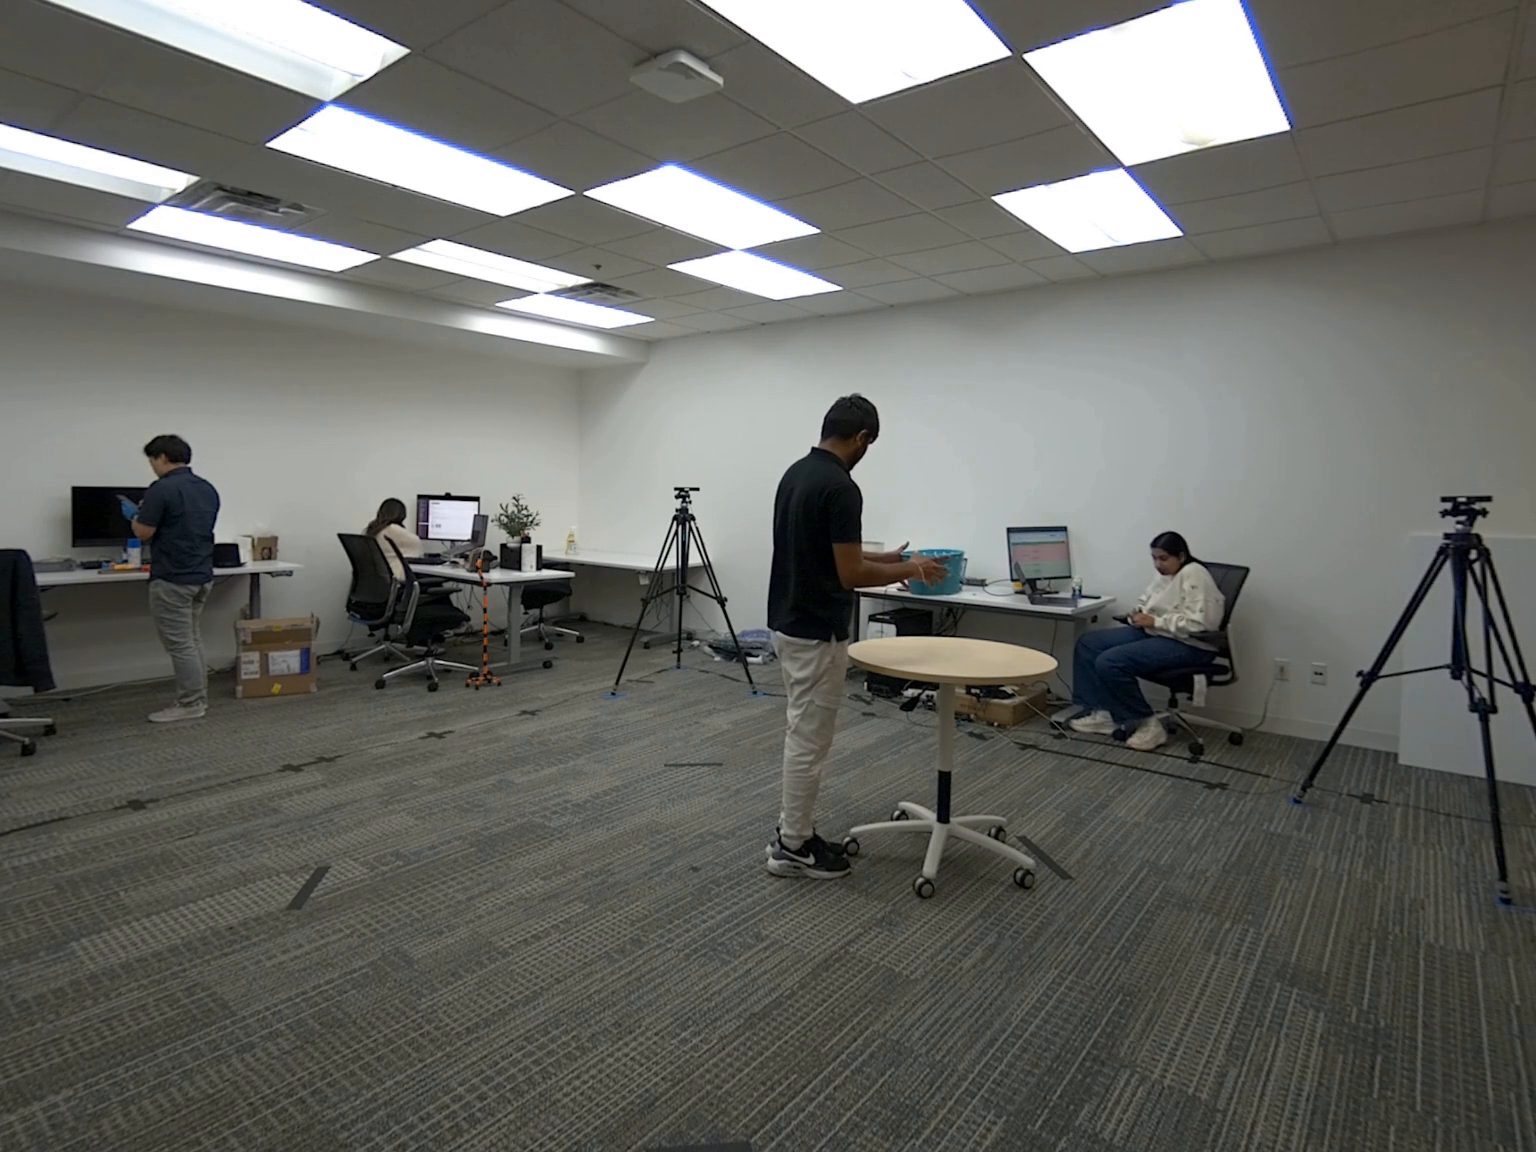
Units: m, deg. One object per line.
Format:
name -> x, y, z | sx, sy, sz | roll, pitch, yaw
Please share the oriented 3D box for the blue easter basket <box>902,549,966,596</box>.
blue easter basket -> 0.618, -0.012, 3.167 | 0.243, 0.155, 0.245 | -4, 5, -2
